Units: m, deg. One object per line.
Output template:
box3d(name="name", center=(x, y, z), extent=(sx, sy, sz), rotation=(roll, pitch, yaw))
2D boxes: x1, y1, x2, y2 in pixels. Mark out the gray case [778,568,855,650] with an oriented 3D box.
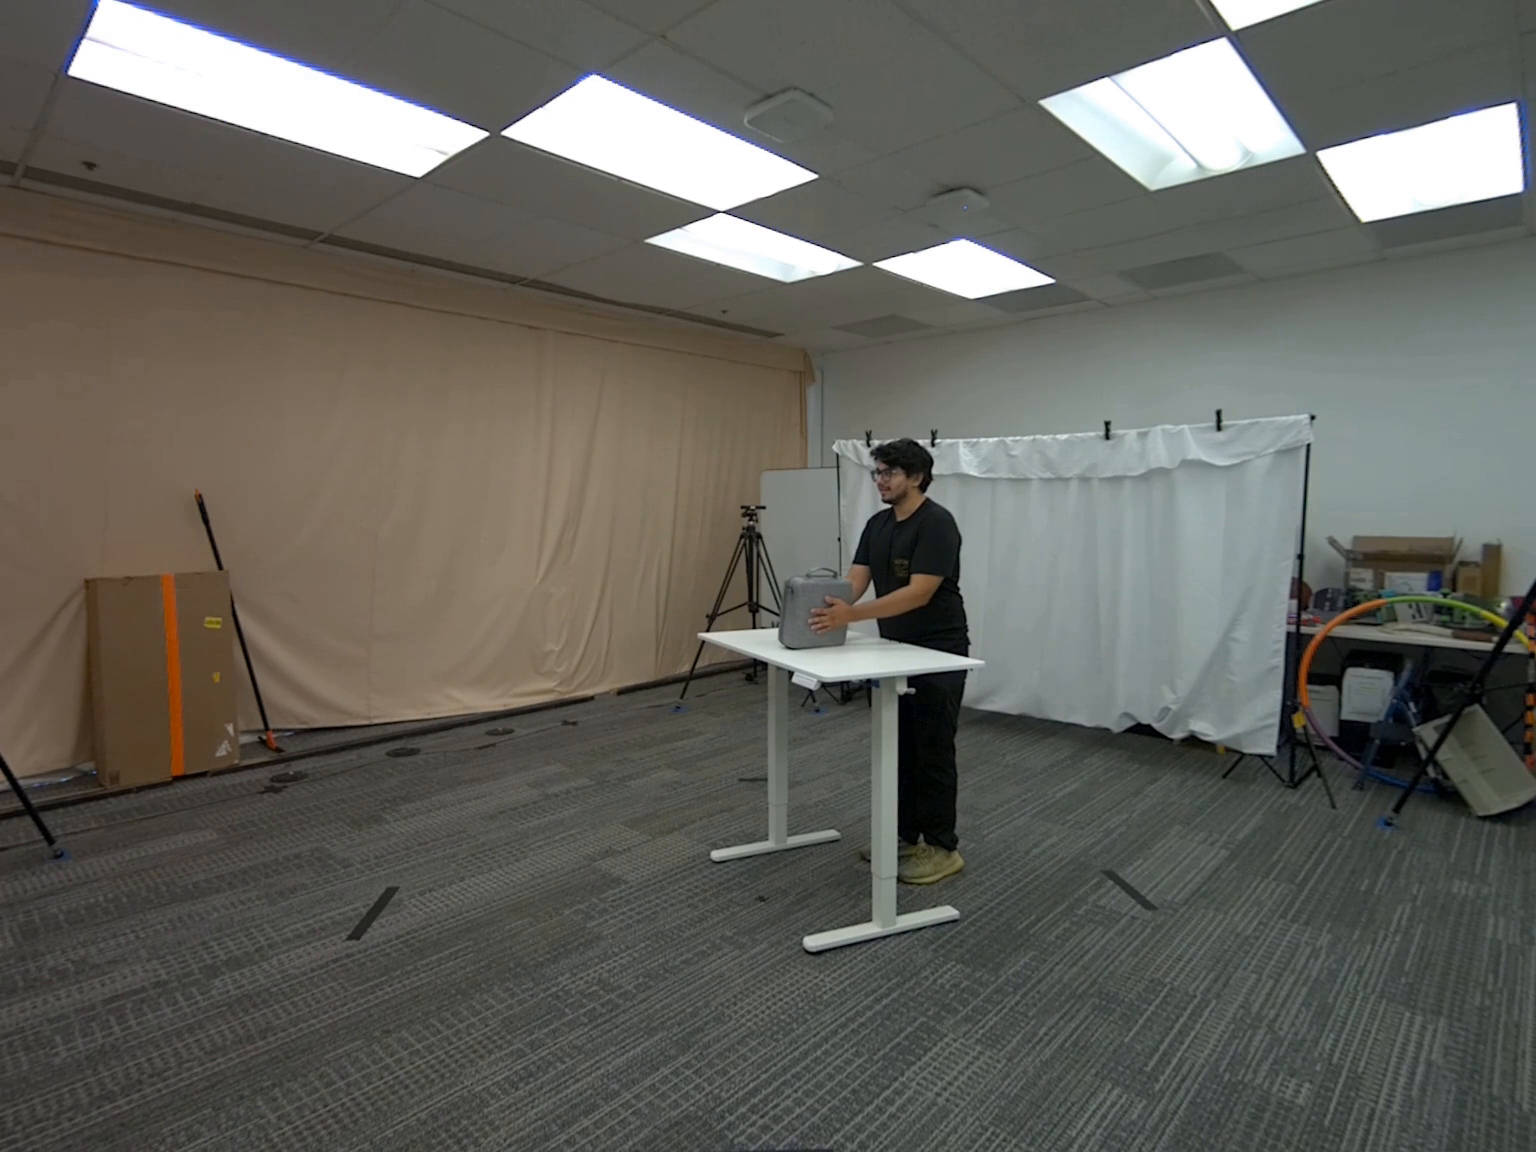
box3d(name="gray case", center=(0.174, 0.126, 3.023), extent=(0.250, 0.259, 0.107), rotation=(0, 10, -27))
